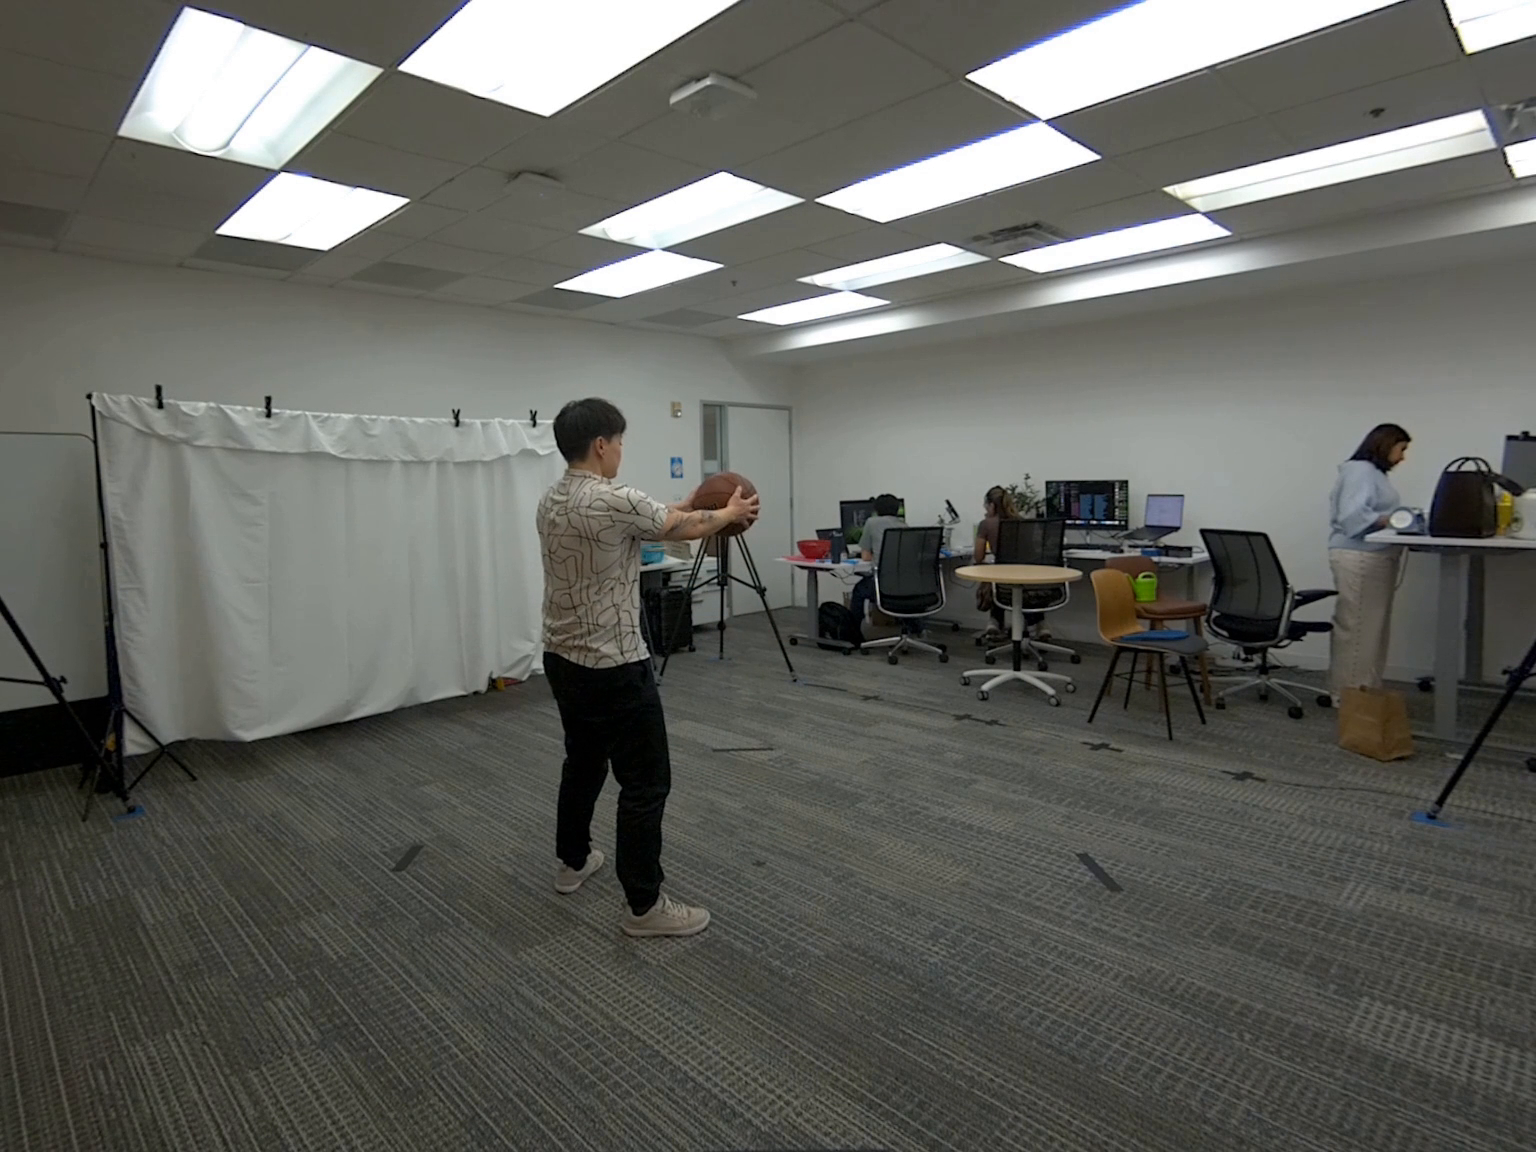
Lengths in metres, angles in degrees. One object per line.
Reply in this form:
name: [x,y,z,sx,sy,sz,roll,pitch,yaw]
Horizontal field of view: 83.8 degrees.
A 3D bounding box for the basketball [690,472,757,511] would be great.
basketball: [-0.145,-0.263,3.133,0.236,0.235,0.237,-1,5,-2]
